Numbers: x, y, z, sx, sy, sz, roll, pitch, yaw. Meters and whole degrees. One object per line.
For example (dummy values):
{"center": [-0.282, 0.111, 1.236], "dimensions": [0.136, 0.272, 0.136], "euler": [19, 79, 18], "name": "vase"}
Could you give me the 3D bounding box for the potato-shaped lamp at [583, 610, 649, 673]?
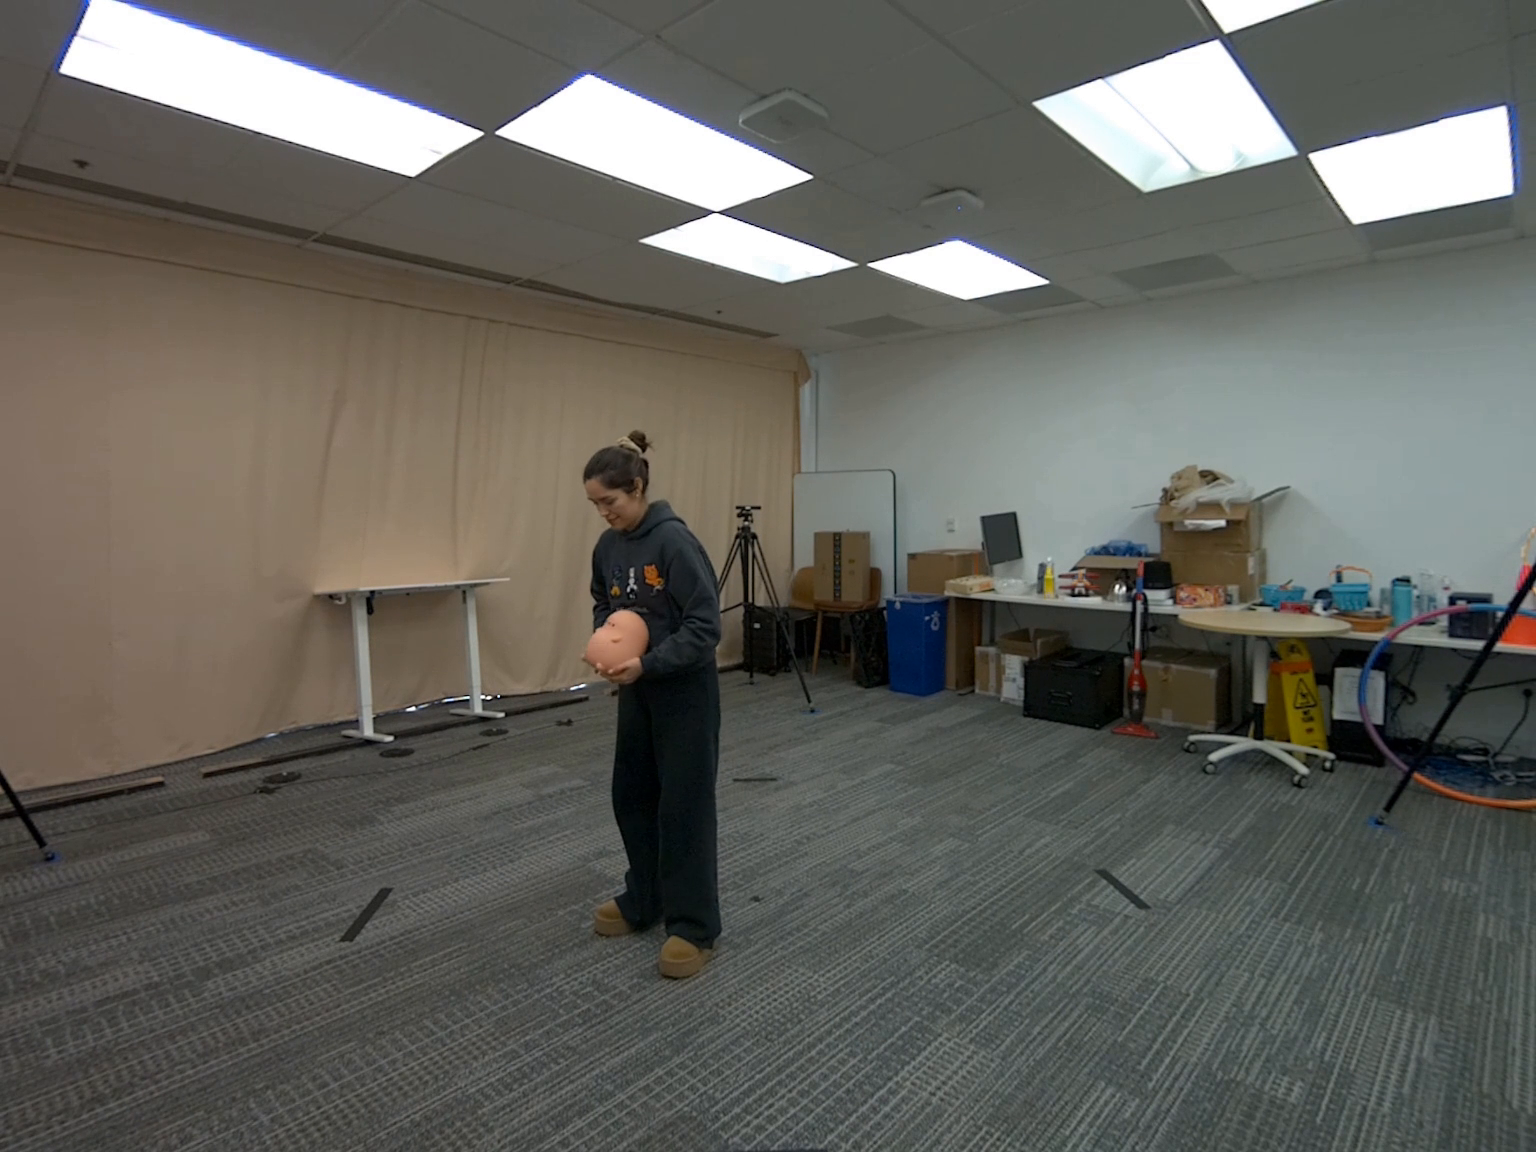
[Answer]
{"center": [-0.441, 0.210, 2.539], "dimensions": [0.165, 0.198, 0.170], "euler": [25, -6, -35], "name": "potato-shaped lamp"}
